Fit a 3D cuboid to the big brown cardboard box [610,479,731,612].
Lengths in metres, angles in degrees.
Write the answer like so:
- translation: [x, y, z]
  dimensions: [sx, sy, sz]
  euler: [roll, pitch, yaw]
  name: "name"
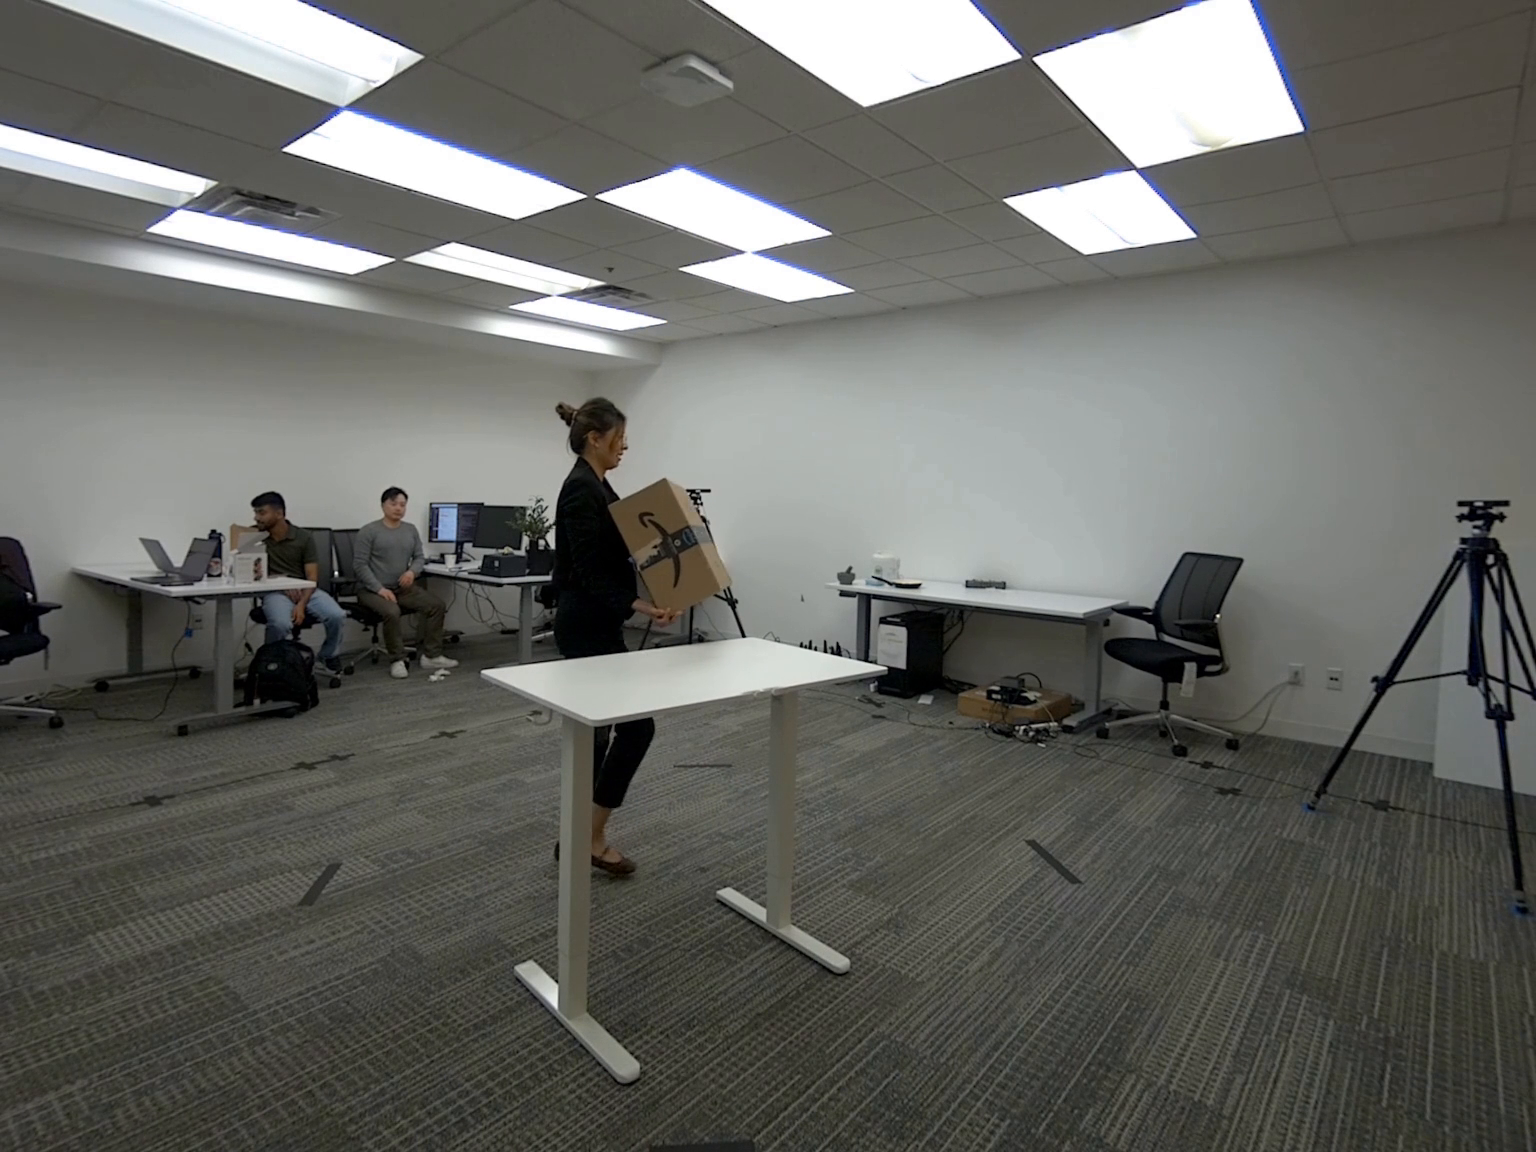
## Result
- translation: [-0.347, -0.106, 3.036]
  dimensions: [0.233, 0.418, 0.587]
  euler: [-25, 1, 2]
  name: "big brown cardboard box"
